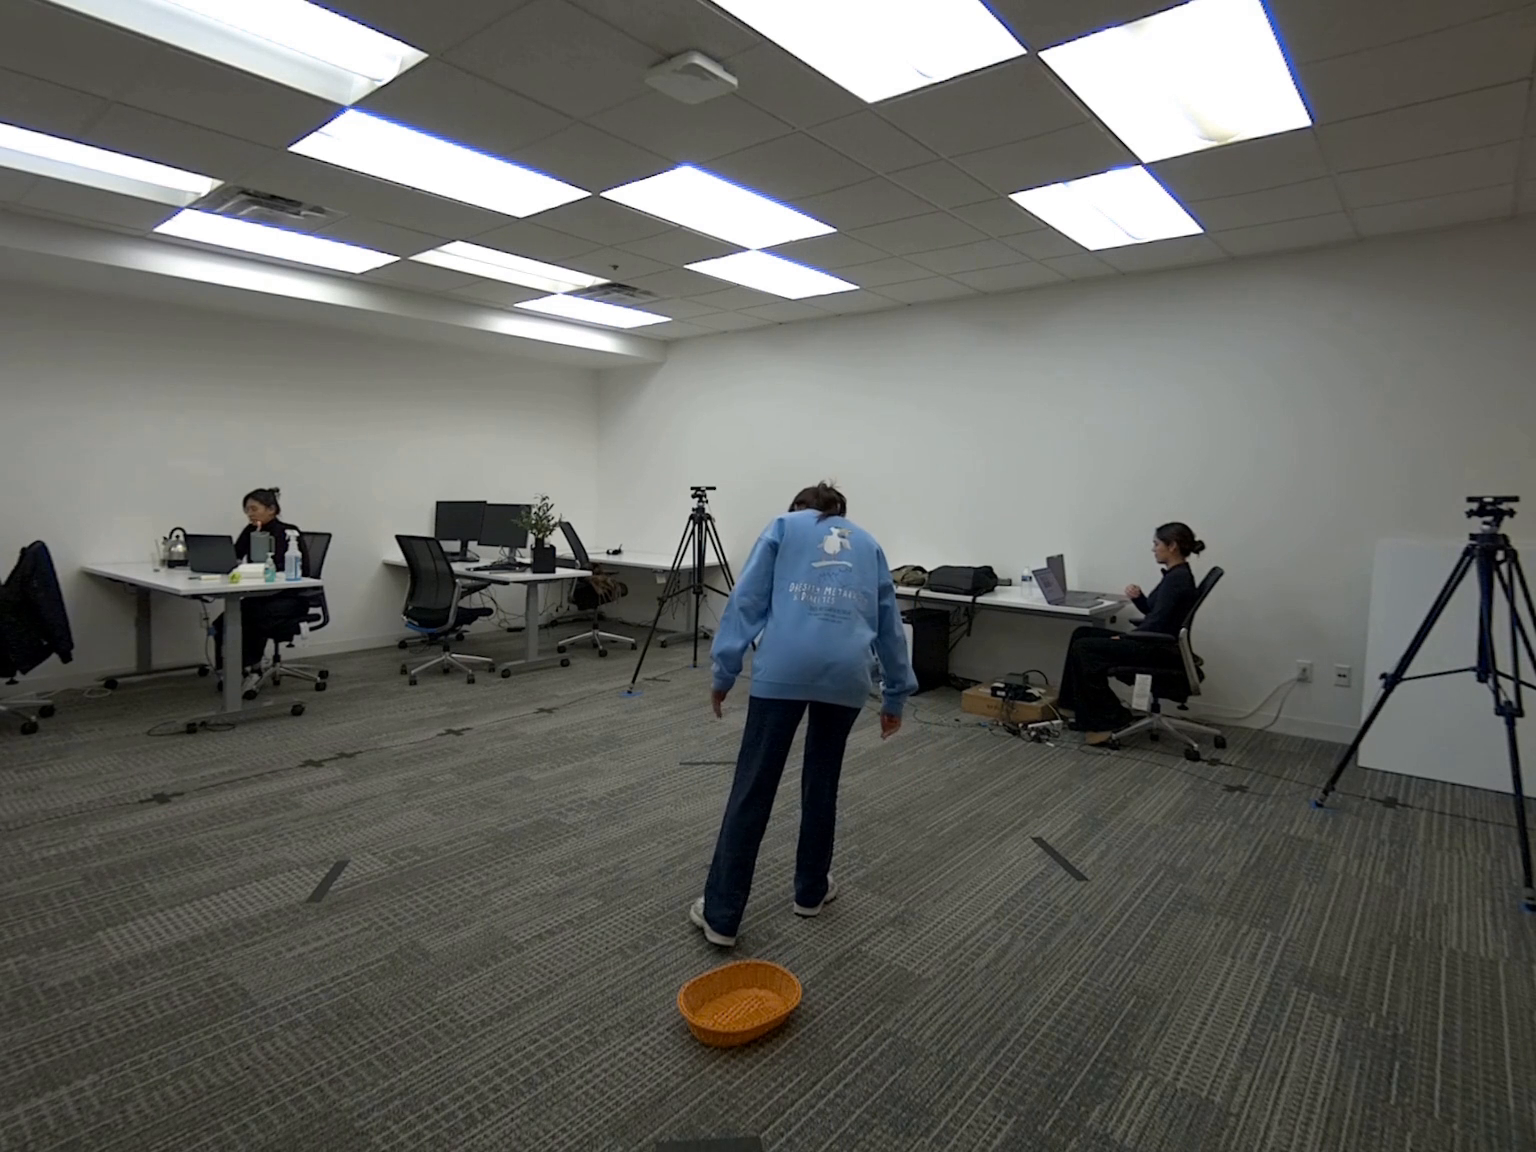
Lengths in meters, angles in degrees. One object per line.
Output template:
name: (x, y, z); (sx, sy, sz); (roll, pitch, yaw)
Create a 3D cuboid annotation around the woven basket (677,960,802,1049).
woven basket: (-0.082, 1.119, 2.228); (0.340, 0.073, 0.261); (-4, 9, -39)
